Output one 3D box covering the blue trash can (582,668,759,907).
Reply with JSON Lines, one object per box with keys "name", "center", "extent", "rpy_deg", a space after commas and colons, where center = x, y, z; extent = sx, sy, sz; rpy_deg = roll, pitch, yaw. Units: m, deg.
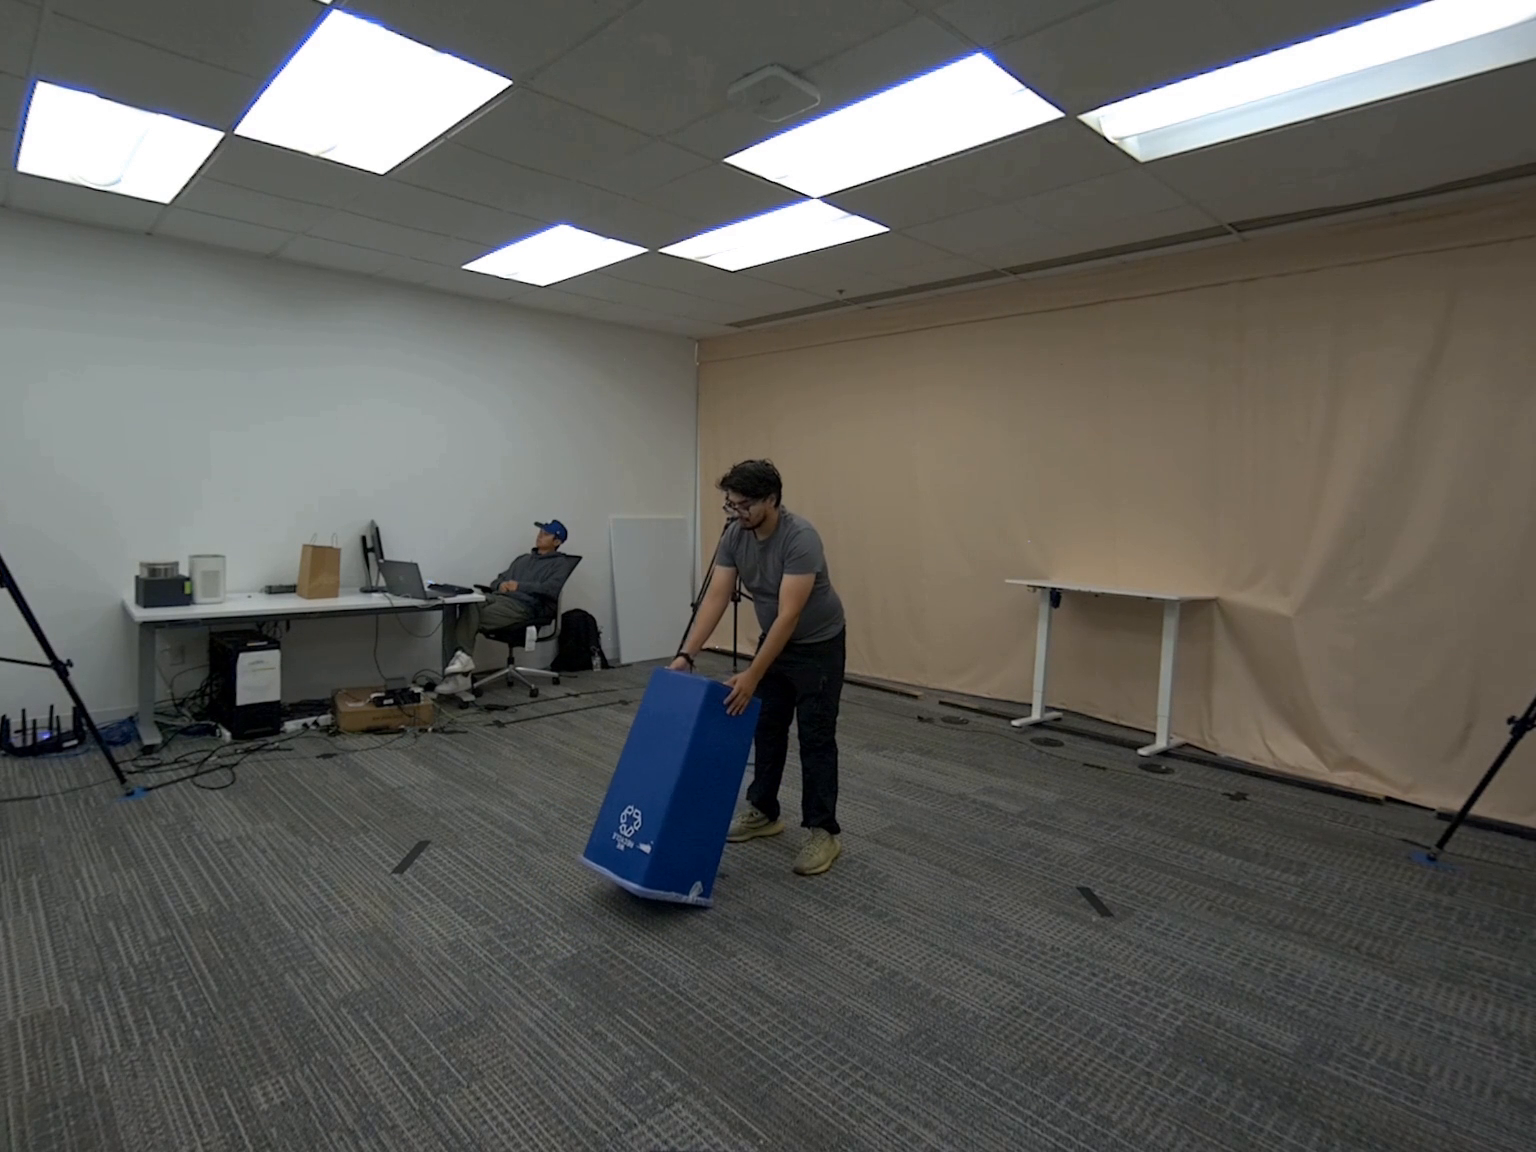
{"name": "blue trash can", "center": [-0.327, 0.725, 2.961], "extent": [0.383, 0.718, 0.366], "rpy_deg": [4, -19, 44]}
